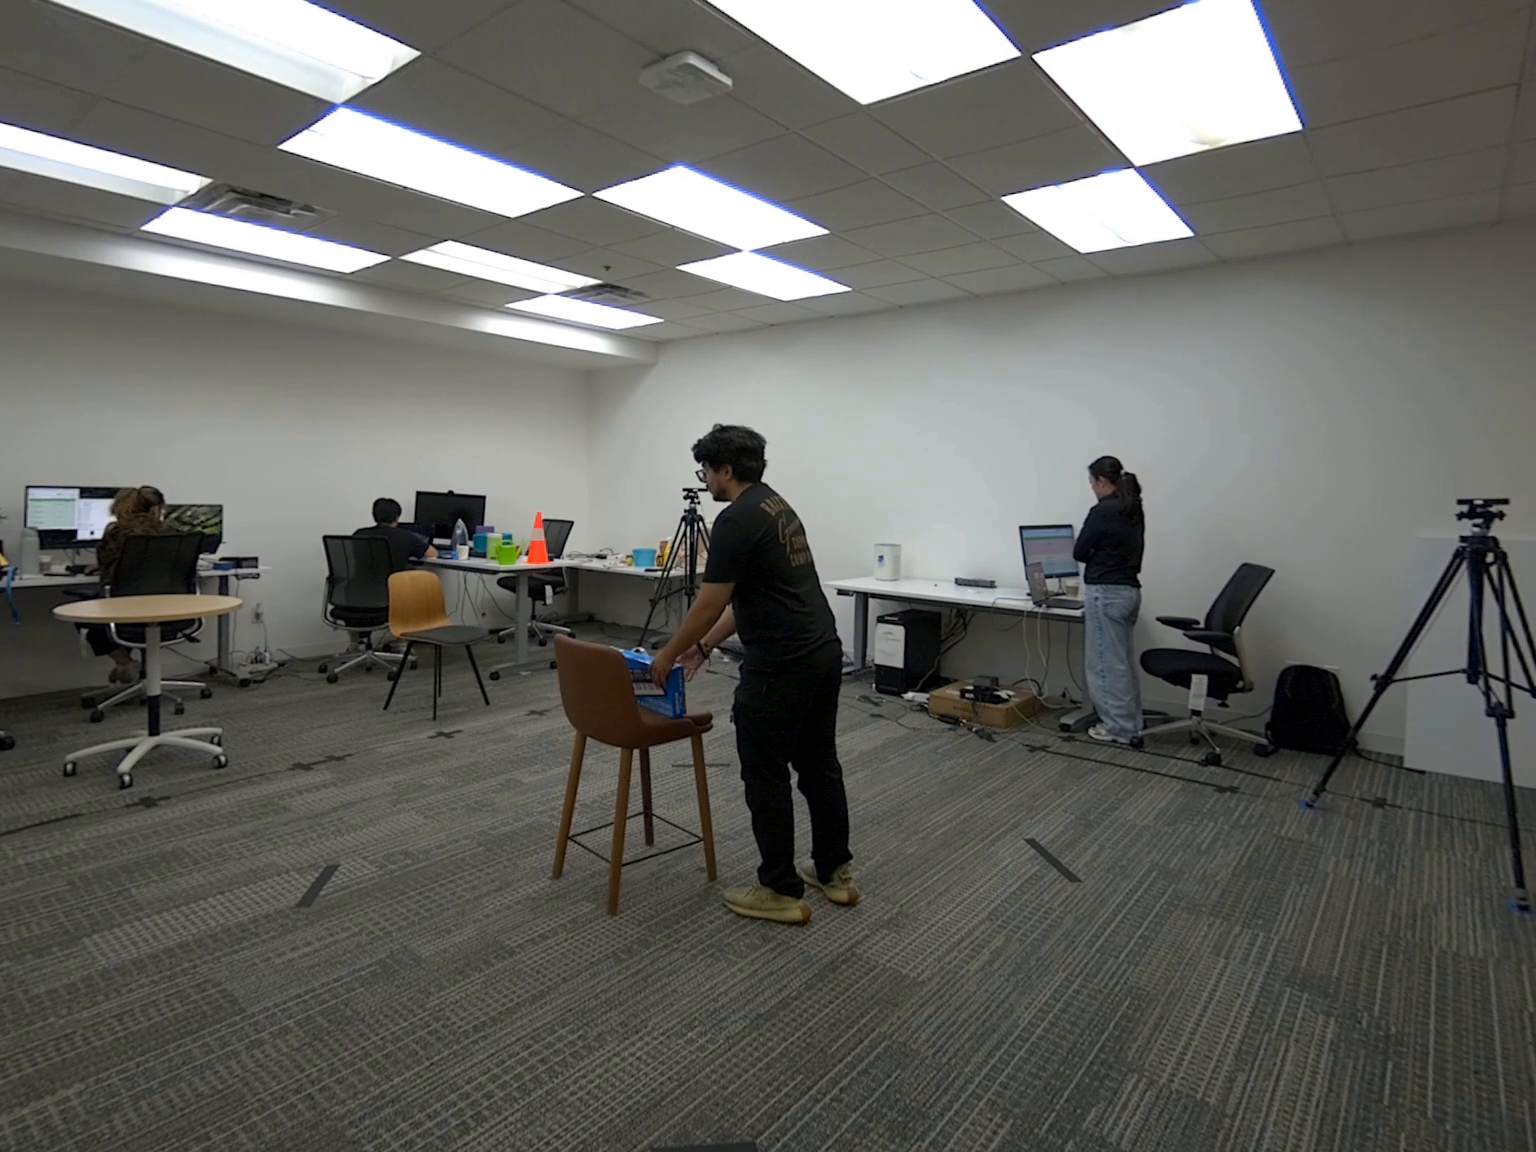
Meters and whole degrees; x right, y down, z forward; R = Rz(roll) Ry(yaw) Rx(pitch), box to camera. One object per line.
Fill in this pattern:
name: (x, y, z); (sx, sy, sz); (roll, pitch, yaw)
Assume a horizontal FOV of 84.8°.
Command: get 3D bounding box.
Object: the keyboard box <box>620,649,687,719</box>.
keyboard box: (-0.468, 0.372, 3.038); (0.057, 0.175, 0.452); (-8, 10, -43)
